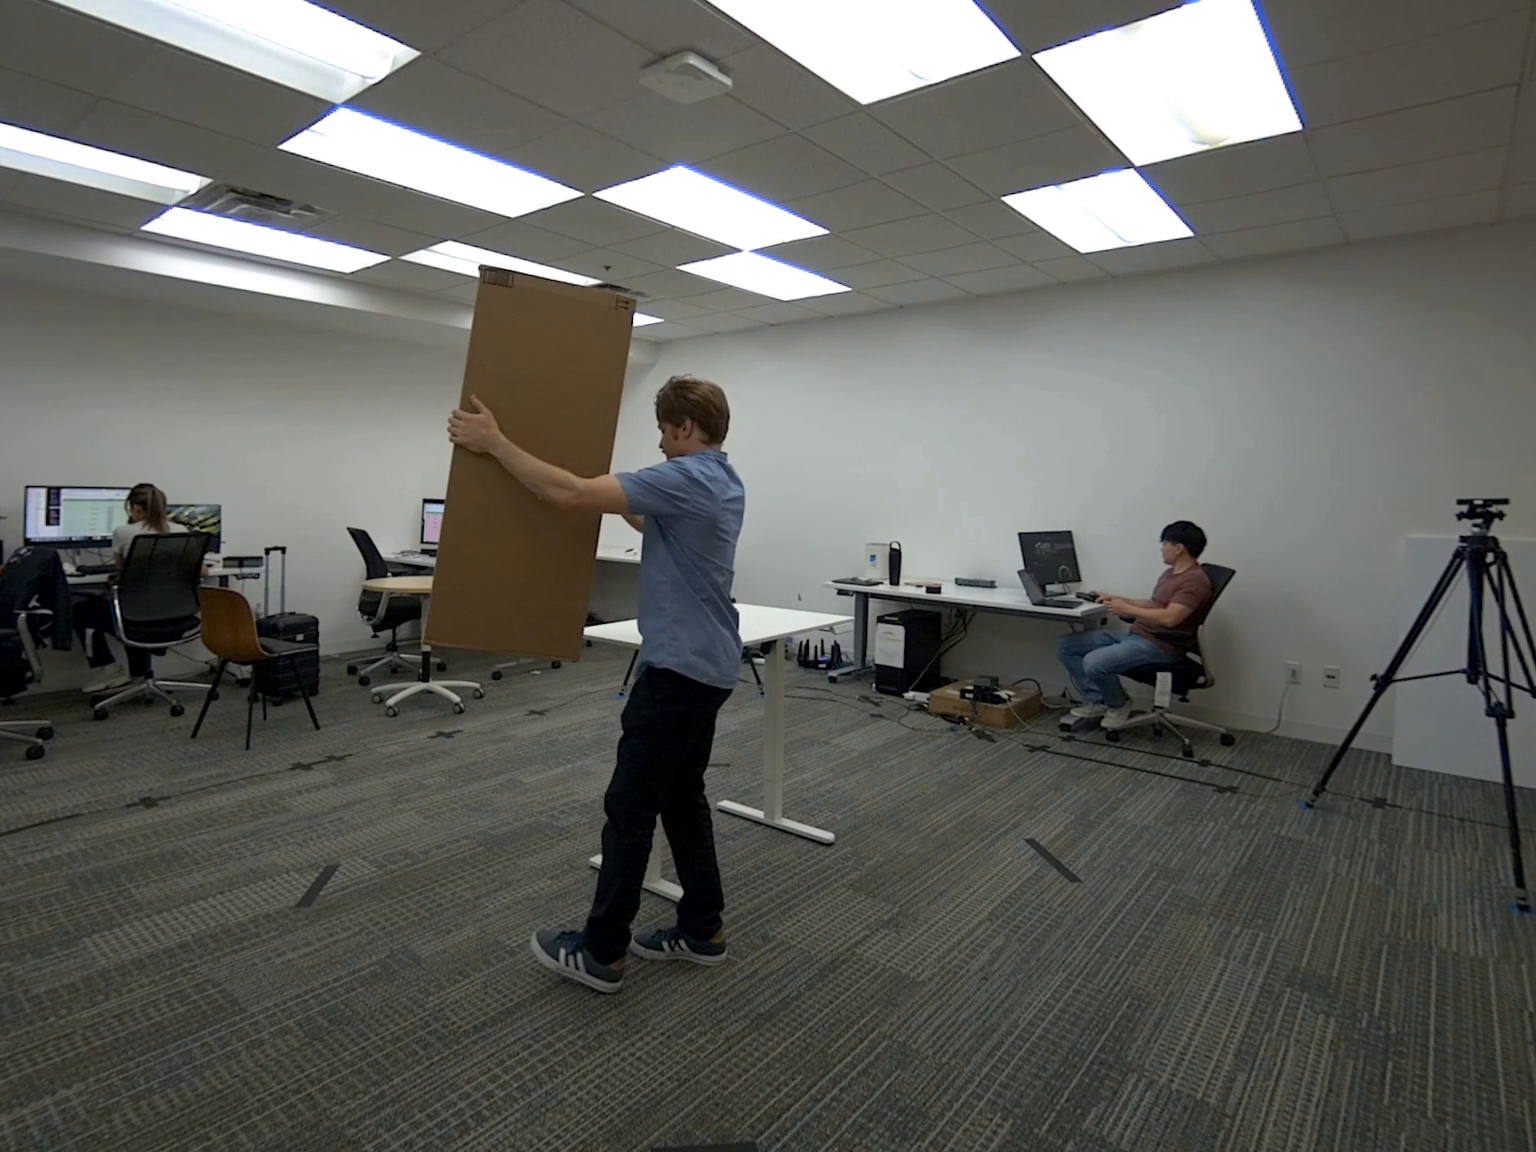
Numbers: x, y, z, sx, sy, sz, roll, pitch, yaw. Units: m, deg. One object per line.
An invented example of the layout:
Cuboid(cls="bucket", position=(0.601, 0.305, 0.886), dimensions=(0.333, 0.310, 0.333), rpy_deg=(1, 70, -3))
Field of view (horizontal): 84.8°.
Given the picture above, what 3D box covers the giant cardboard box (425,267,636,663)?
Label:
Cuboid(cls="giant cardboard box", position=(-0.733, -0.325, 2.565), dimensions=(0.419, 1.023, 0.589), rpy_deg=(9, 3, -16))
